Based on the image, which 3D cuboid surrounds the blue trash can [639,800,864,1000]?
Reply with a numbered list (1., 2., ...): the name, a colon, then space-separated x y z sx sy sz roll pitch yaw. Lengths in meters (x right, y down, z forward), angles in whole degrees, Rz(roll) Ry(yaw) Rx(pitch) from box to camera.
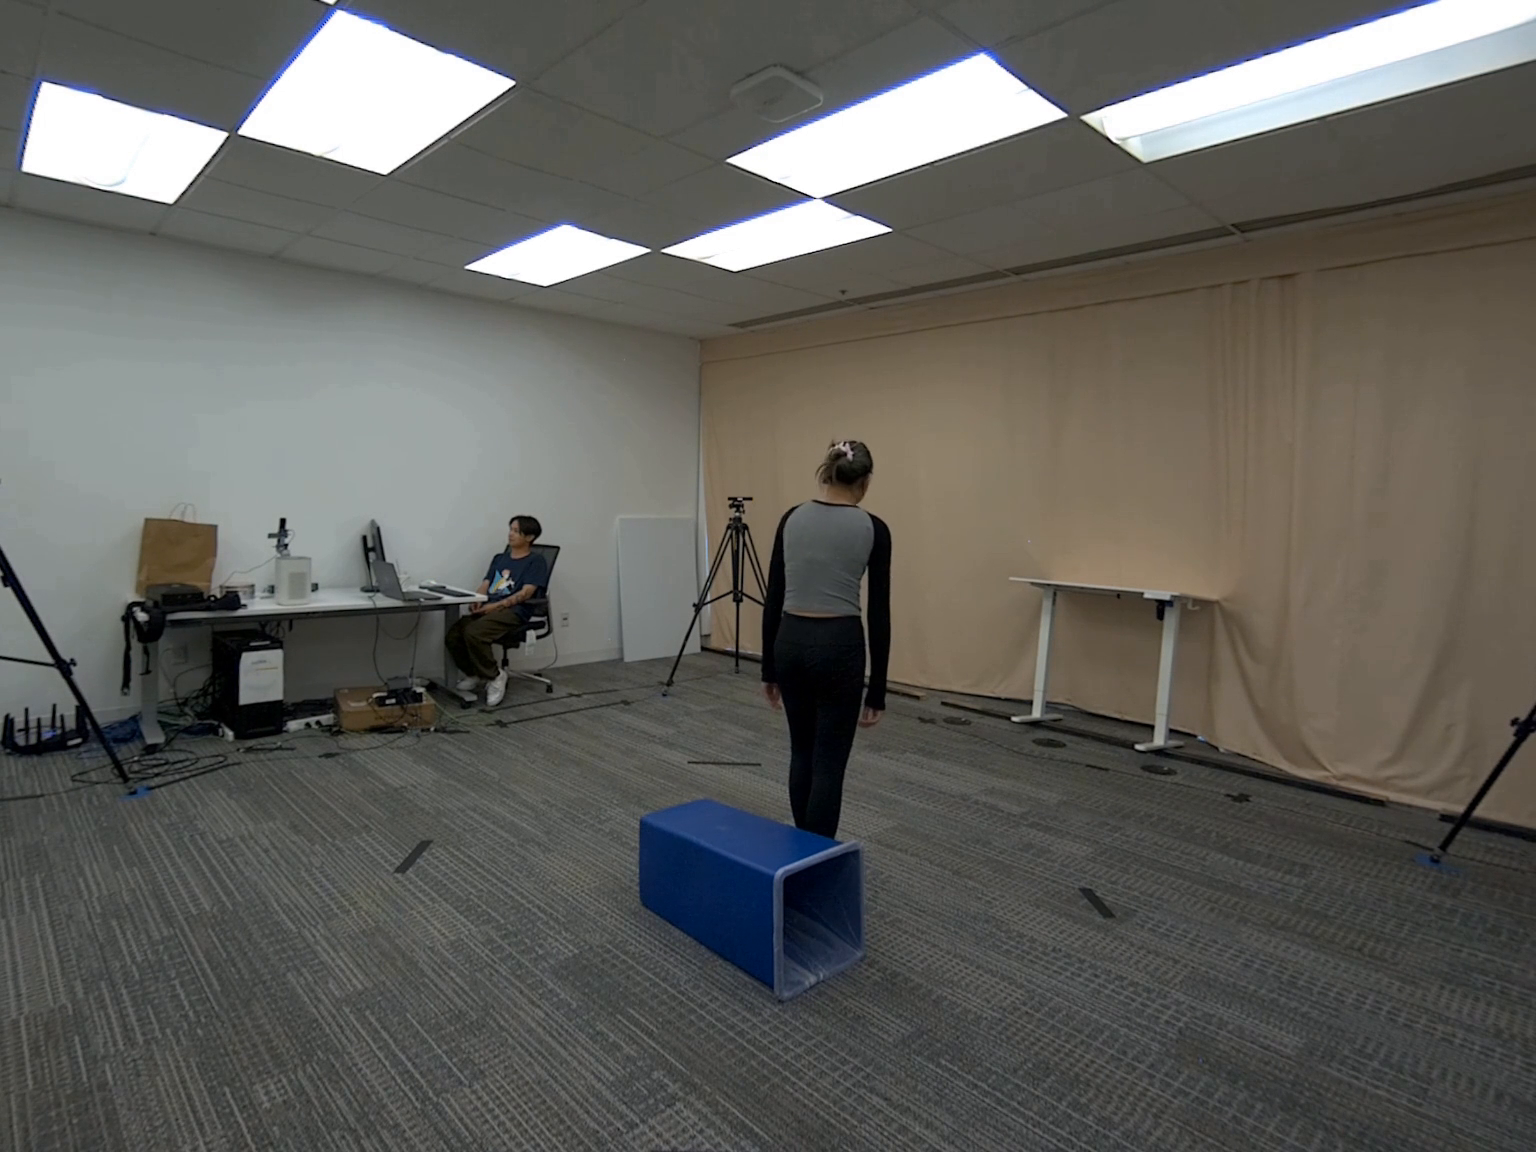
1. blue trash can: -0.093 0.974 2.694 0.369 0.373 0.731 -3 5 -43
